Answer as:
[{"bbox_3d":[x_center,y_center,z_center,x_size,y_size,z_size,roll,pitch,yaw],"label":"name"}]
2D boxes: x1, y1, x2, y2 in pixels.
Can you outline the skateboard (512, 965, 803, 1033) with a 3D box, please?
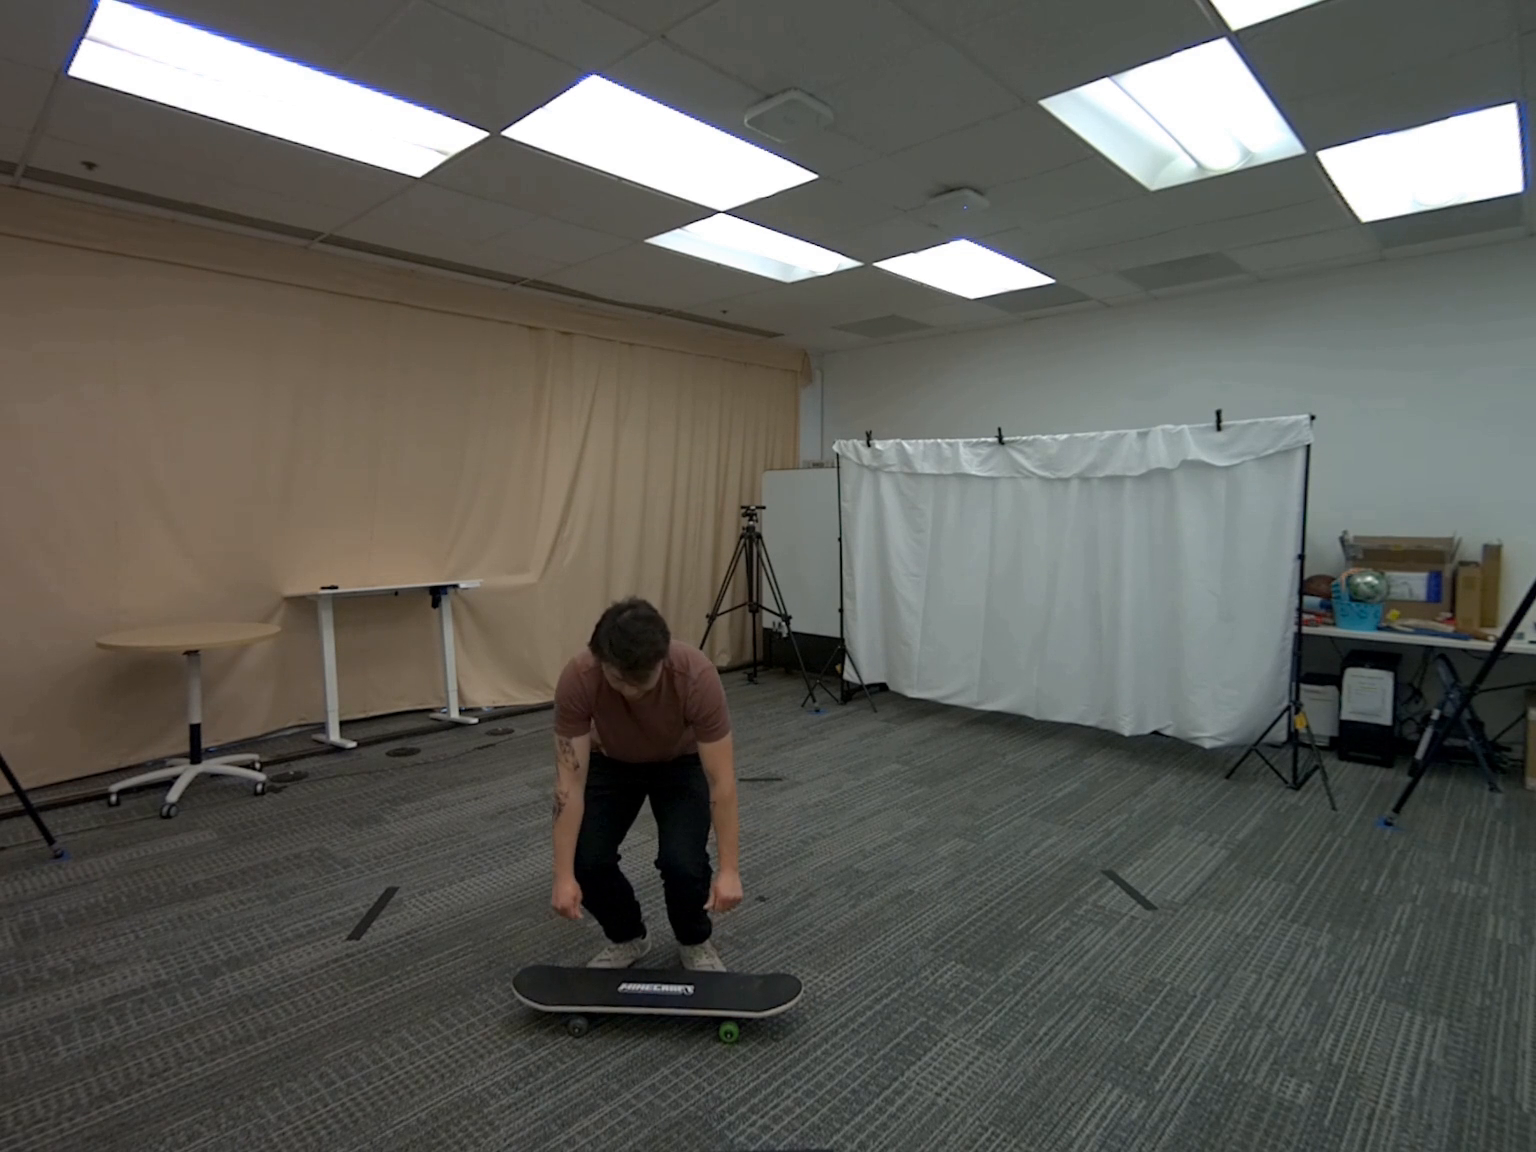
[{"bbox_3d":[-0.297,1.150,2.274,0.788,0.110,0.193,-1,2,3],"label":"skateboard"}]
